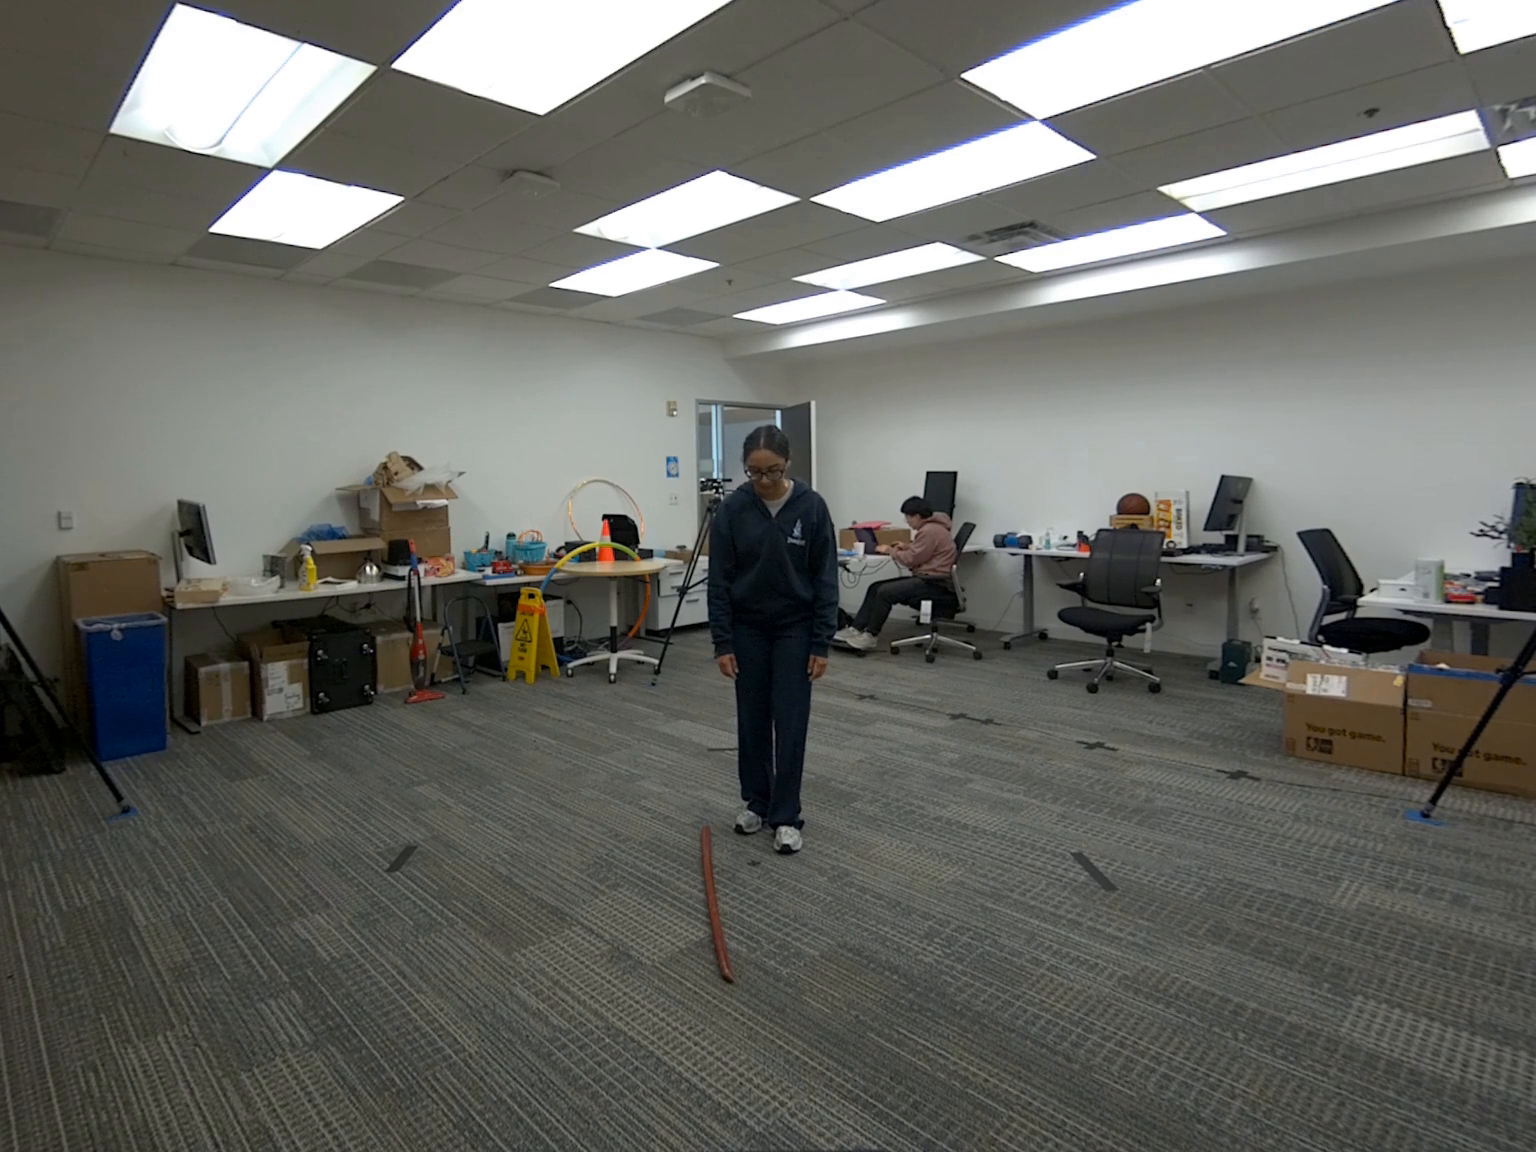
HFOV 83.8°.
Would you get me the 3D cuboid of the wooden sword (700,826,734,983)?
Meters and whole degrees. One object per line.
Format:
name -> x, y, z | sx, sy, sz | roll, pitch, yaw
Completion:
wooden sword -> -0.192, 1.058, 2.875 | 0.051, 0.024, 1.037 | -38, 11, -2
